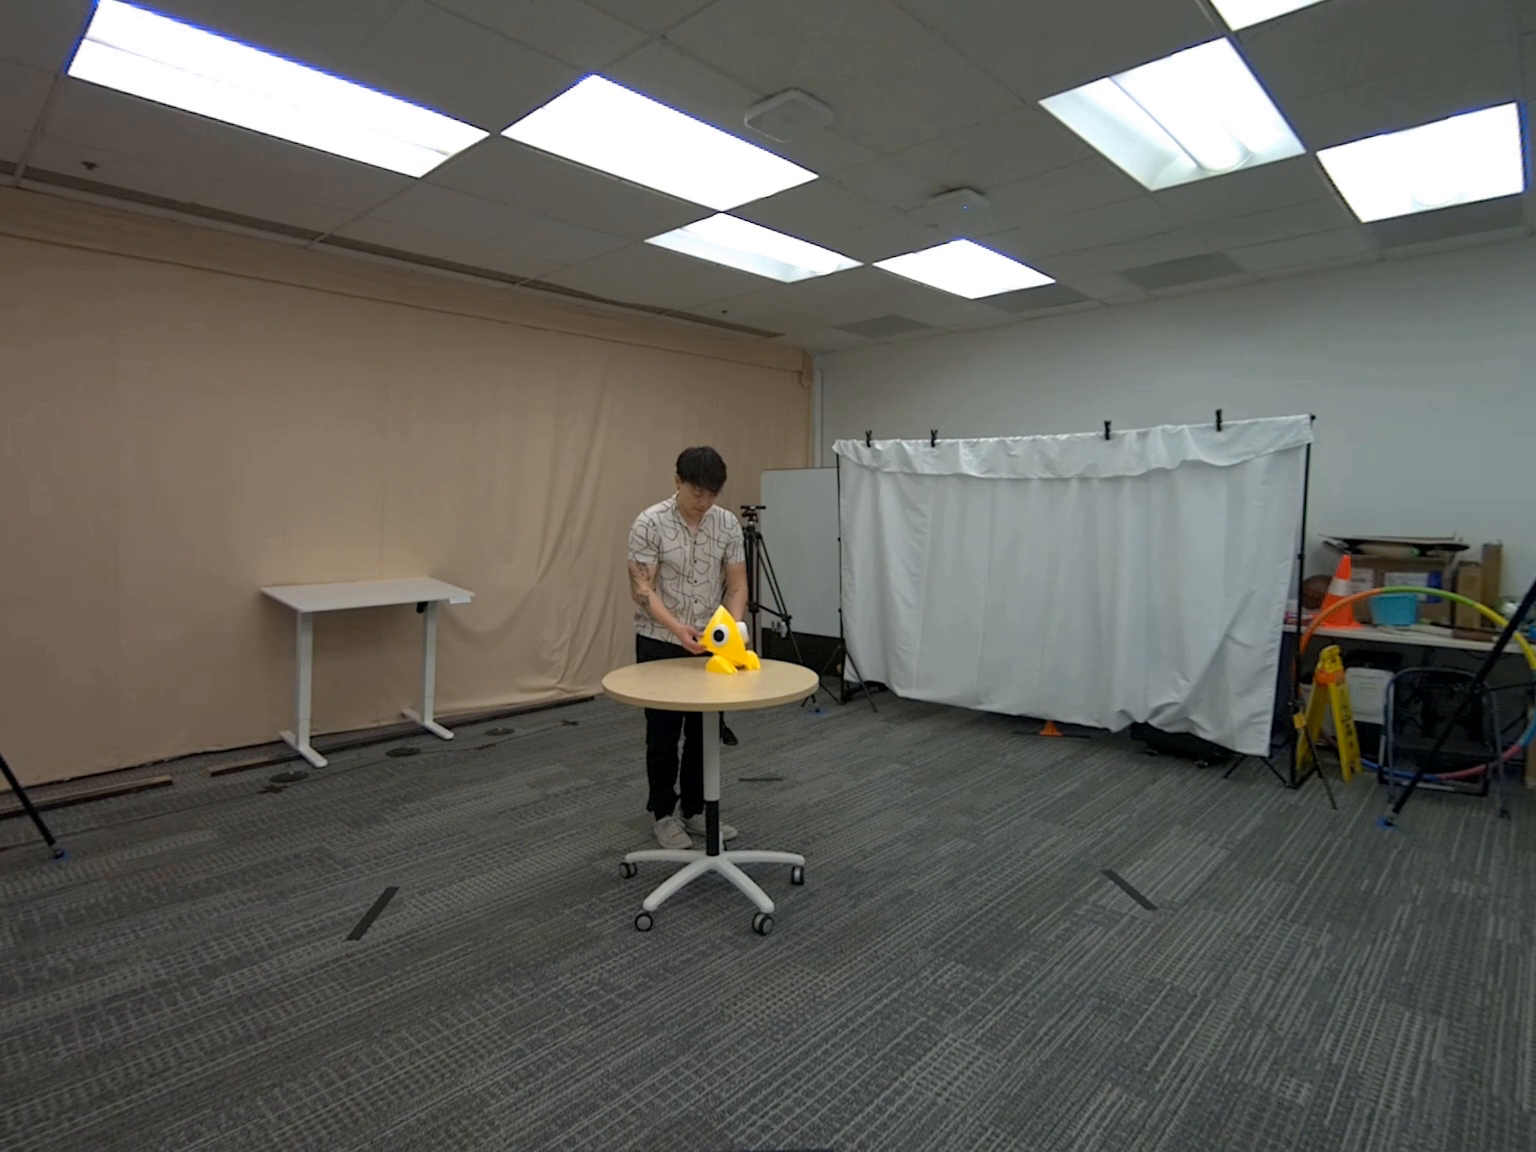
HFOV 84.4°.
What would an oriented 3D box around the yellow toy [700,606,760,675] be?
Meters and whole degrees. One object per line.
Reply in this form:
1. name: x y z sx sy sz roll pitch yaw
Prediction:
1. yellow toy: -0.139 0.231 3.154 0.199 0.230 0.199 -4 6 -37
